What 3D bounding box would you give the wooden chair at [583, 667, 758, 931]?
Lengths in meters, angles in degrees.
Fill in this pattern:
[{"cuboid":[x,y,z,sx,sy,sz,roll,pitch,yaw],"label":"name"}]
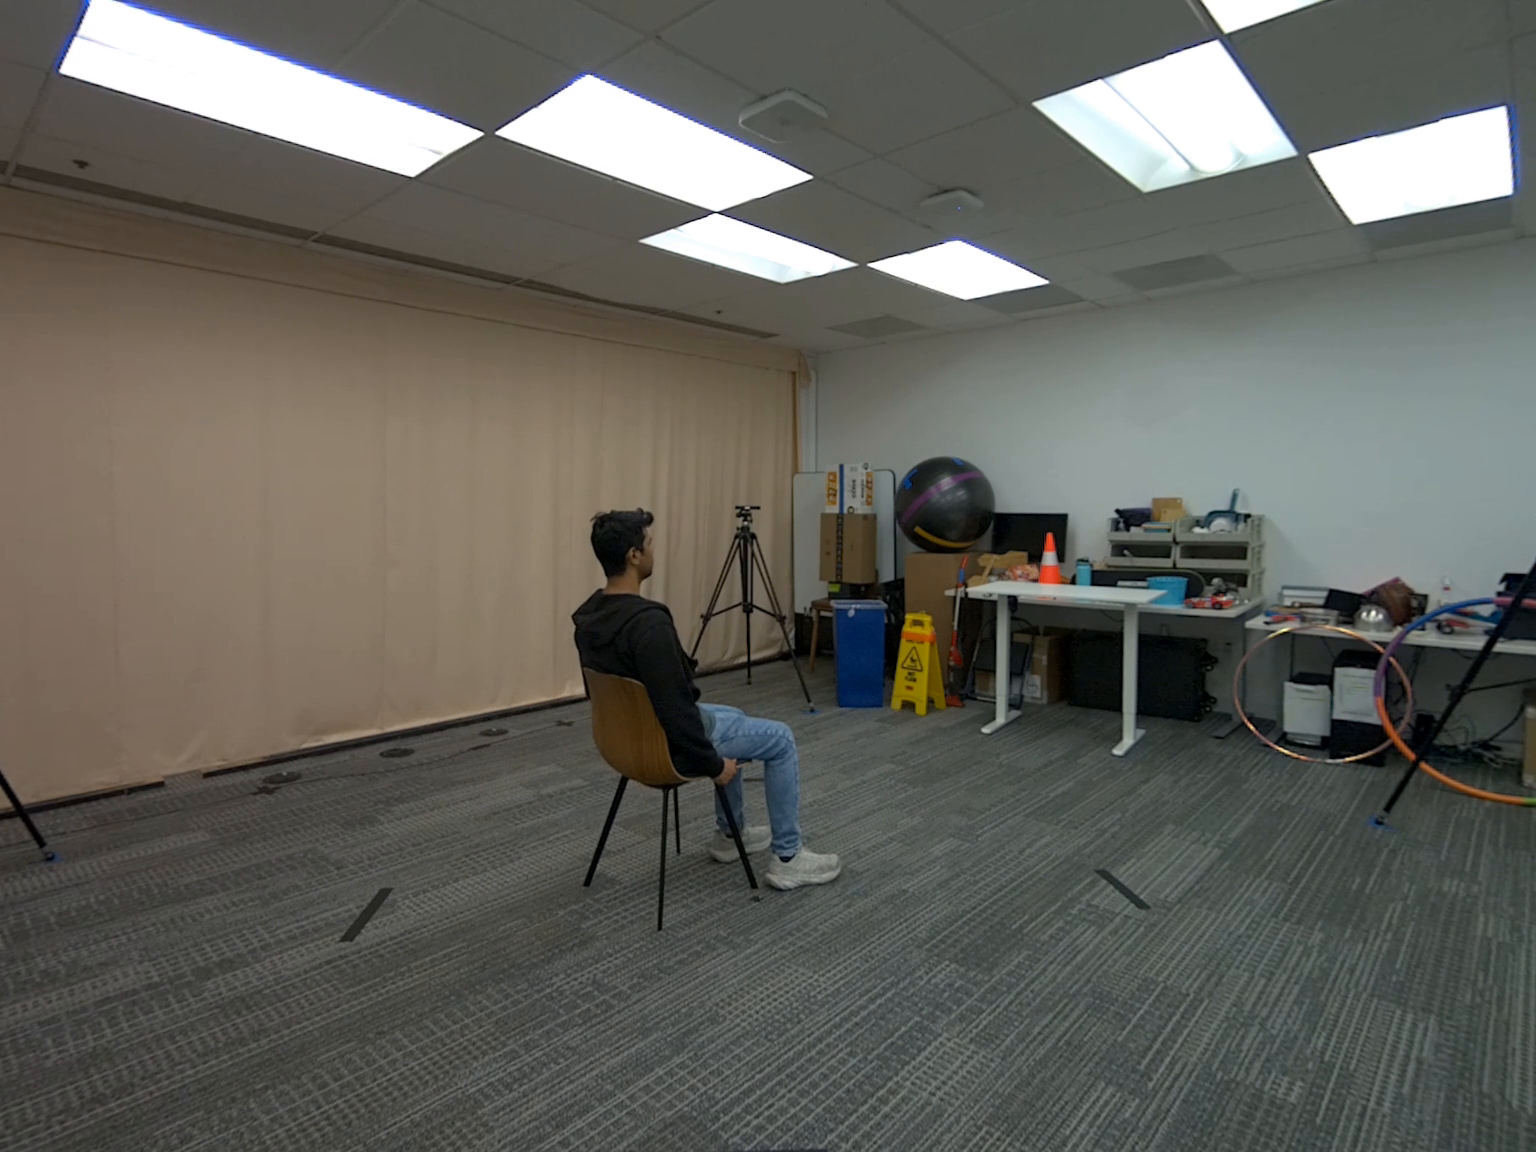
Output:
[{"cuboid":[-0.356,0.713,3.061,0.508,0.874,0.494,-10,8,-43],"label":"wooden chair"}]
